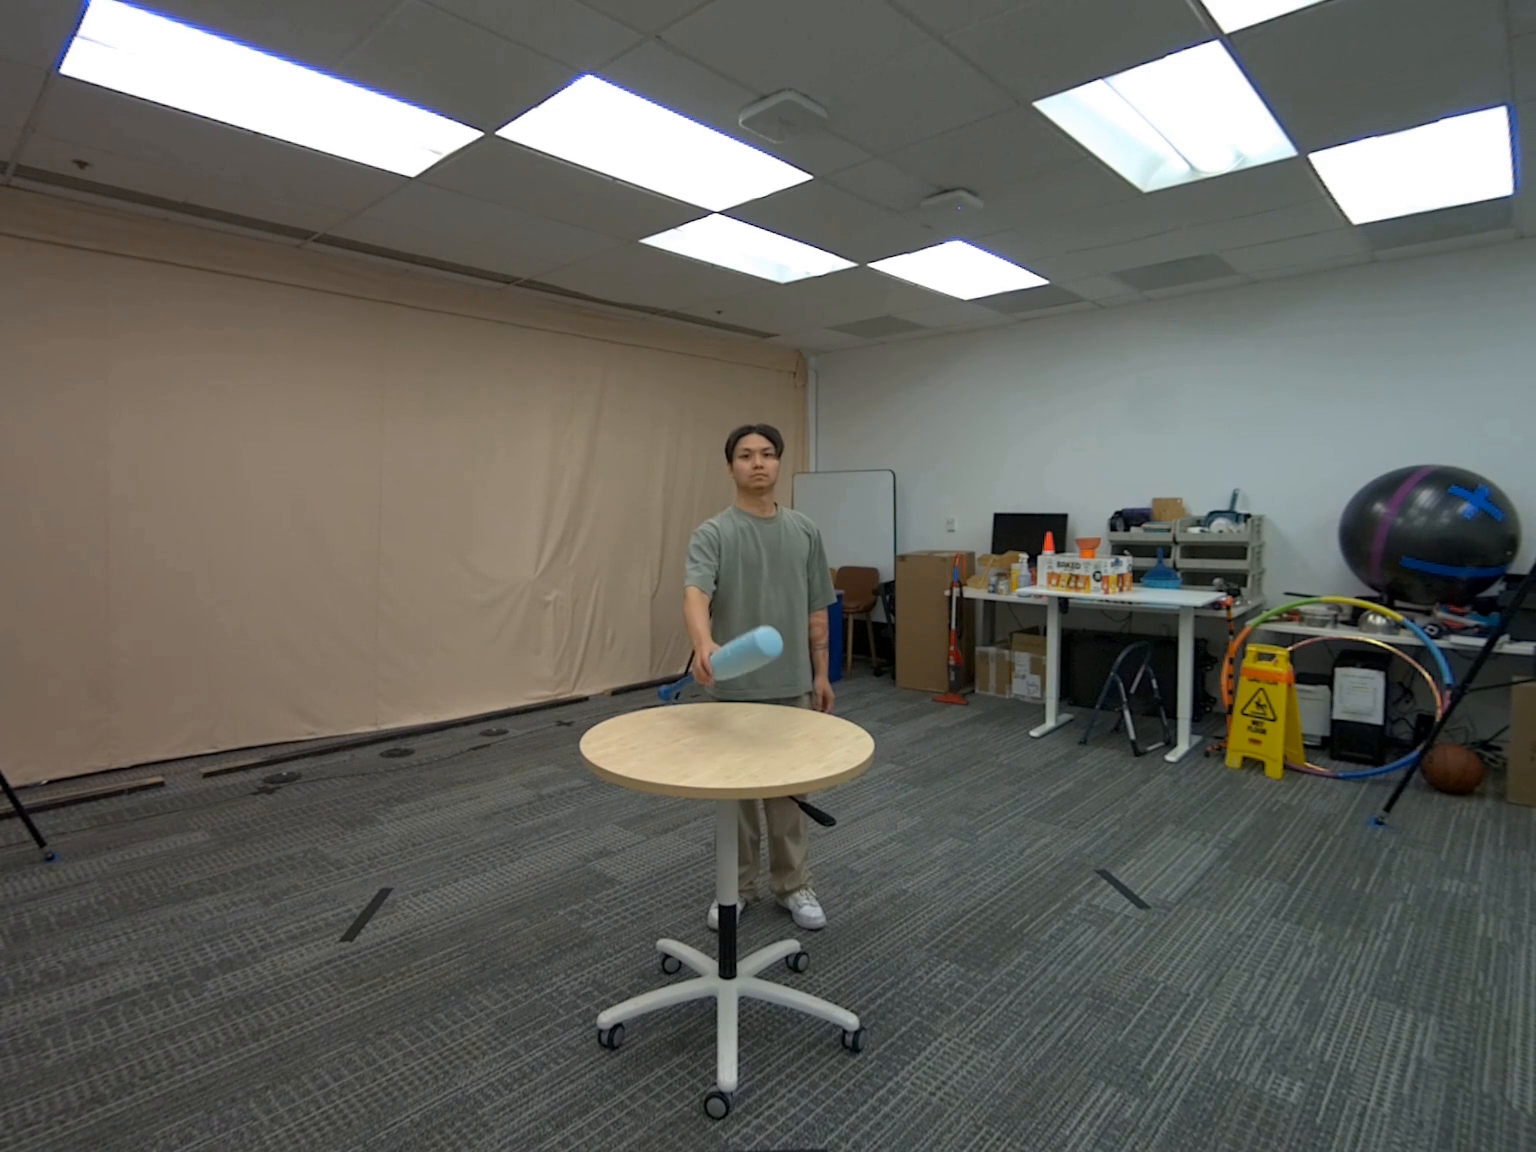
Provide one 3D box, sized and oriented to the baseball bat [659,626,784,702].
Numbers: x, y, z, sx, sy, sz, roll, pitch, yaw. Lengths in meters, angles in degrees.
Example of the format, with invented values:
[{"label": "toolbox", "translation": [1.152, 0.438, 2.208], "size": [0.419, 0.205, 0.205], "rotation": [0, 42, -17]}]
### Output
[{"label": "baseball bat", "translation": [-0.153, 0.242, 2.251], "size": [0.086, 0.090, 0.551], "rotation": [-2, -18, -36]}]
